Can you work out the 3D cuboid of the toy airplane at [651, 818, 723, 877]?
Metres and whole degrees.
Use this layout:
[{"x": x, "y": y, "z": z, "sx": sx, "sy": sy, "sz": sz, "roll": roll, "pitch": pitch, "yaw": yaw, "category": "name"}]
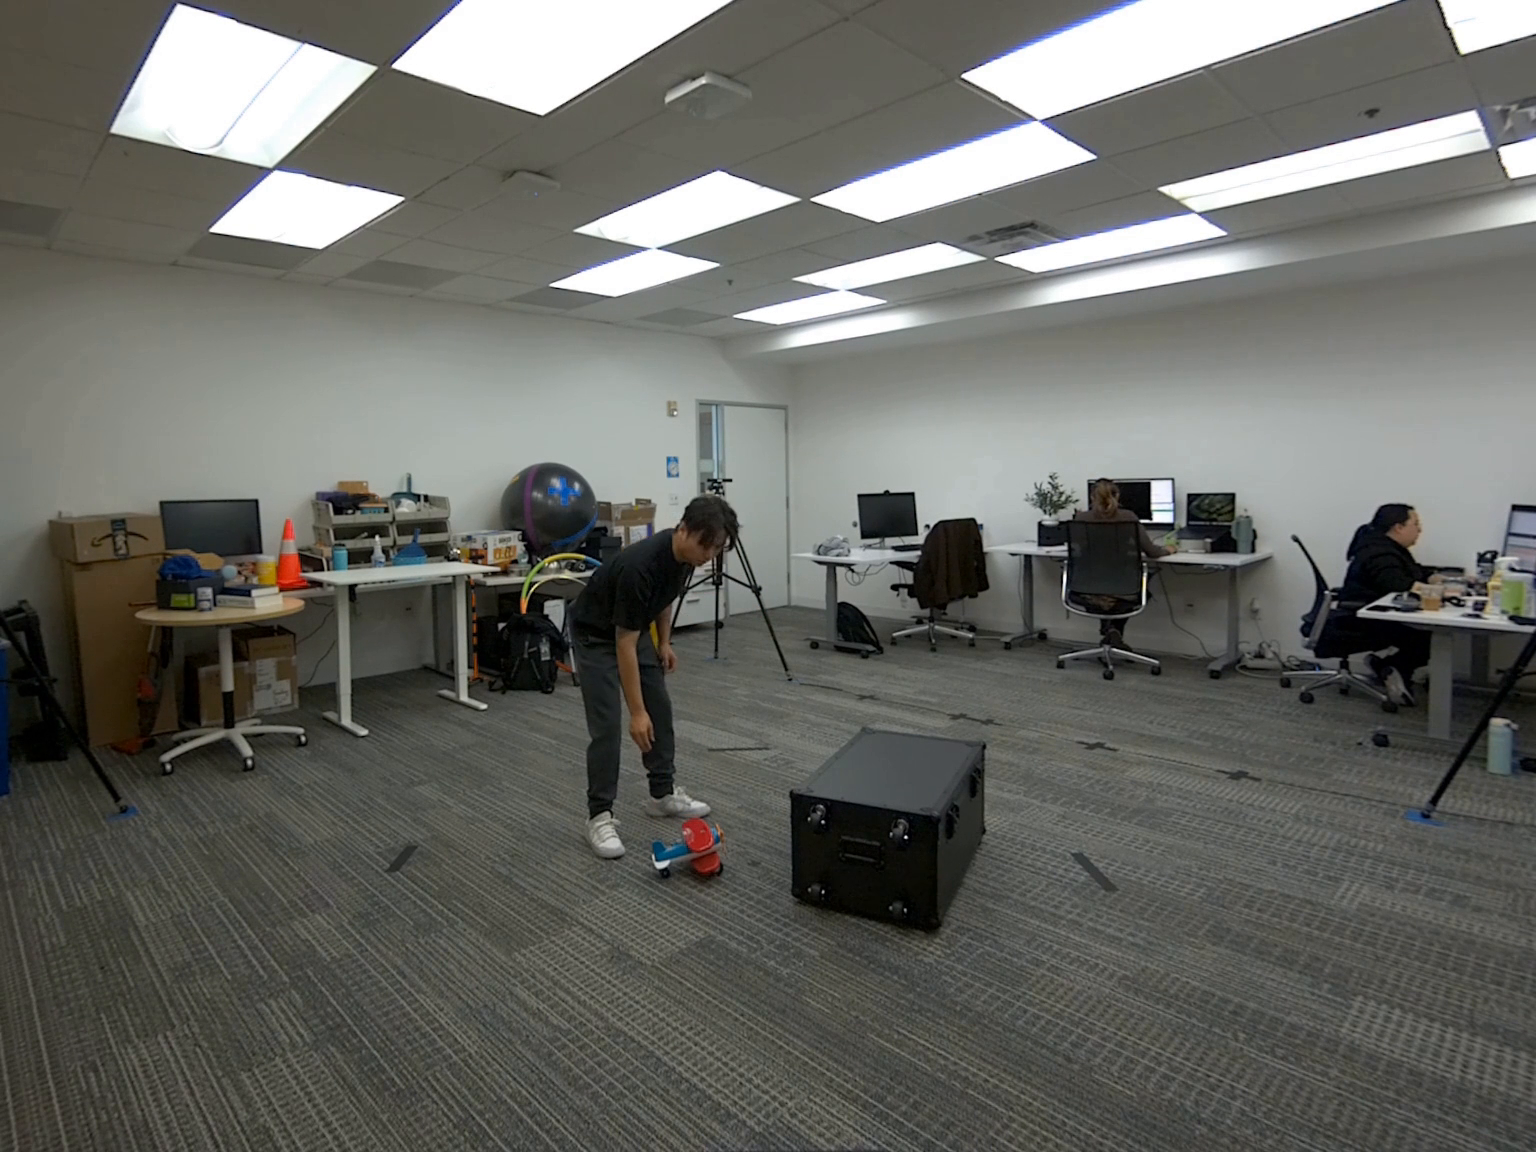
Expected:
[{"x": -0.264, "y": 0.978, "z": 3.023, "sx": 0.252, "sy": 0.156, "sz": 0.259, "roll": -5, "pitch": 7, "yaw": -42, "category": "toy airplane"}]
